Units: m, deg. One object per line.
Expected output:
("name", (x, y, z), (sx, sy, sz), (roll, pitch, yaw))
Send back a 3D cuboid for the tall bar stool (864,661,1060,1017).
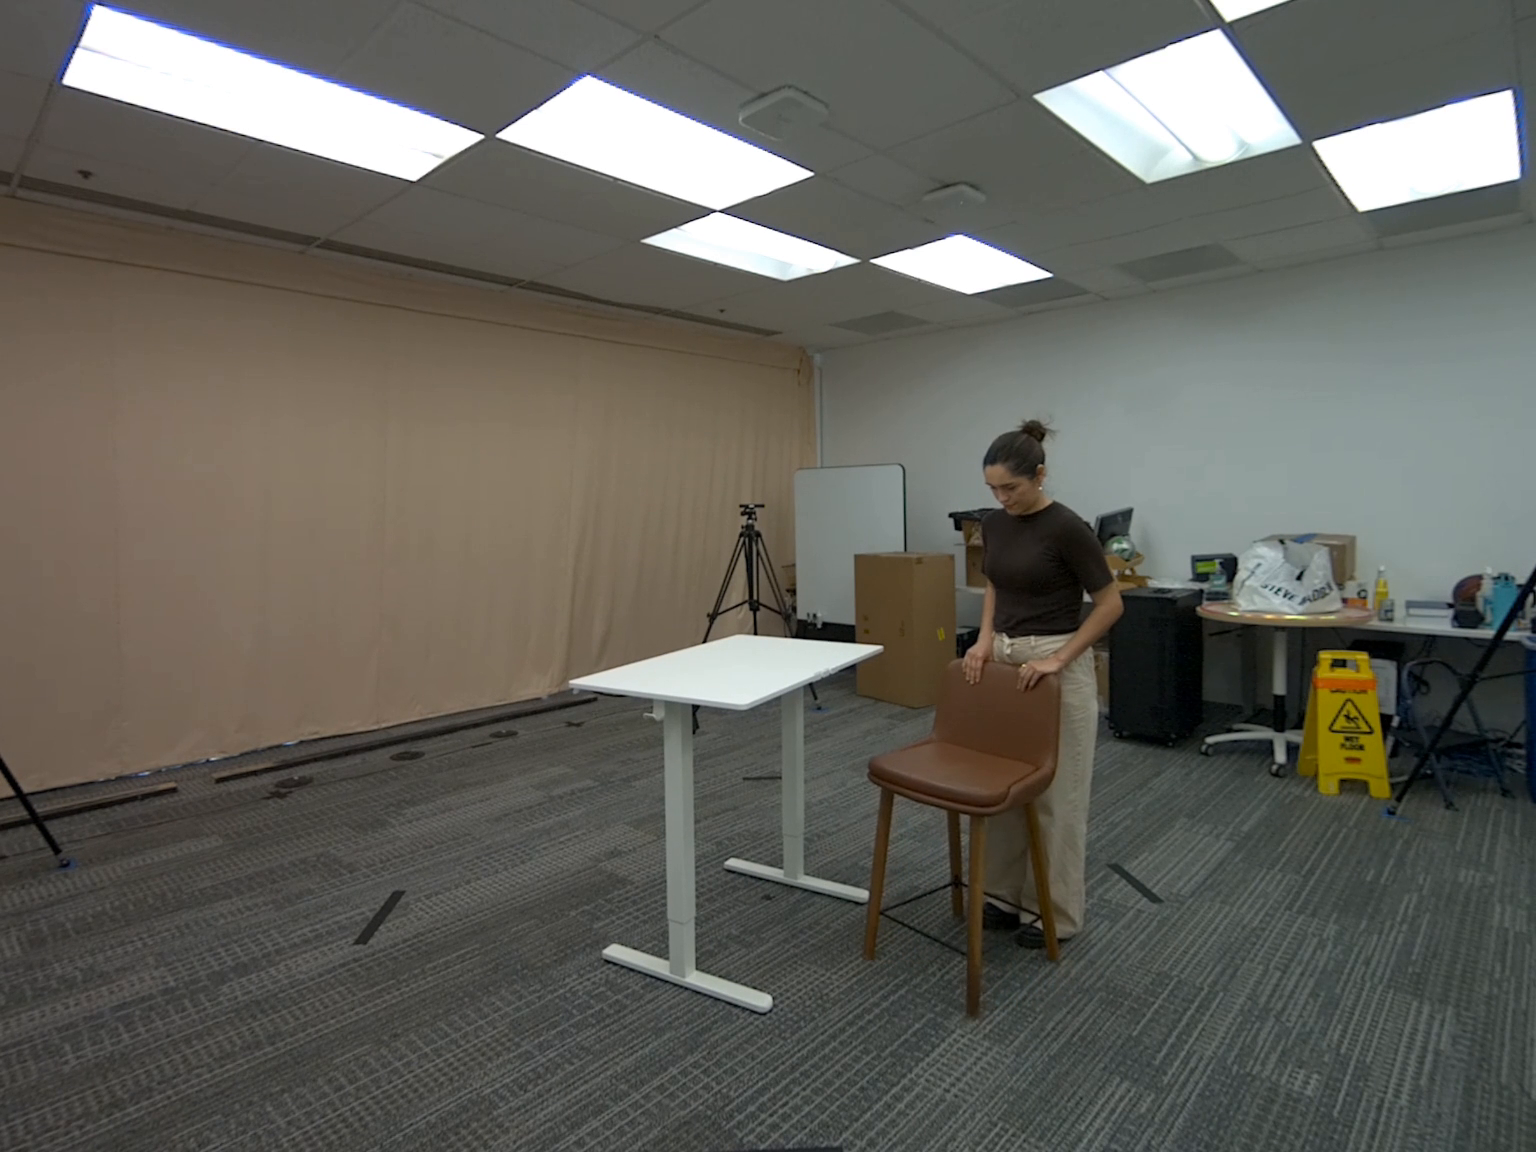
("tall bar stool", (0.592, 0.725, 2.534), (0.453, 0.888, 0.471), (-3, 4, -40))
